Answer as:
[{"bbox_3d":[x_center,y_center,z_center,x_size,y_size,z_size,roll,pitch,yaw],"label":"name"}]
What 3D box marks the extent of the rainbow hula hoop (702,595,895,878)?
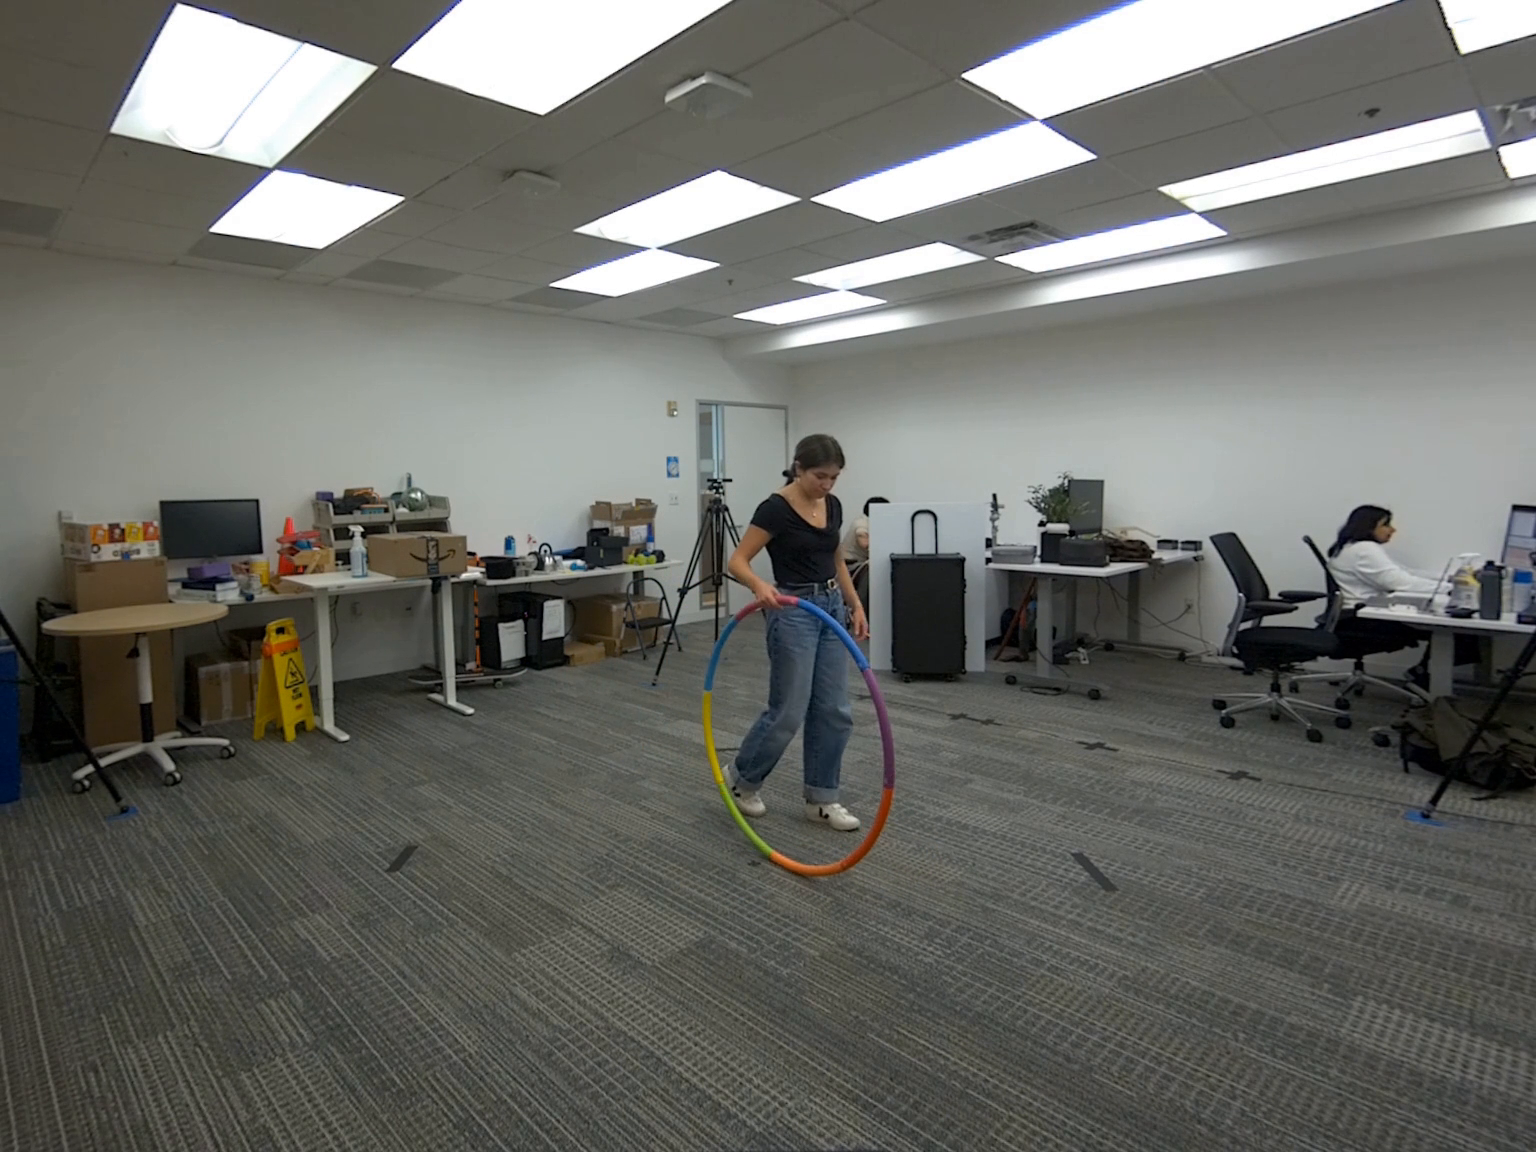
[{"bbox_3d":[0.071,0.566,3.058,0.034,0.977,1.008,0,3,-39],"label":"rainbow hula hoop"}]
